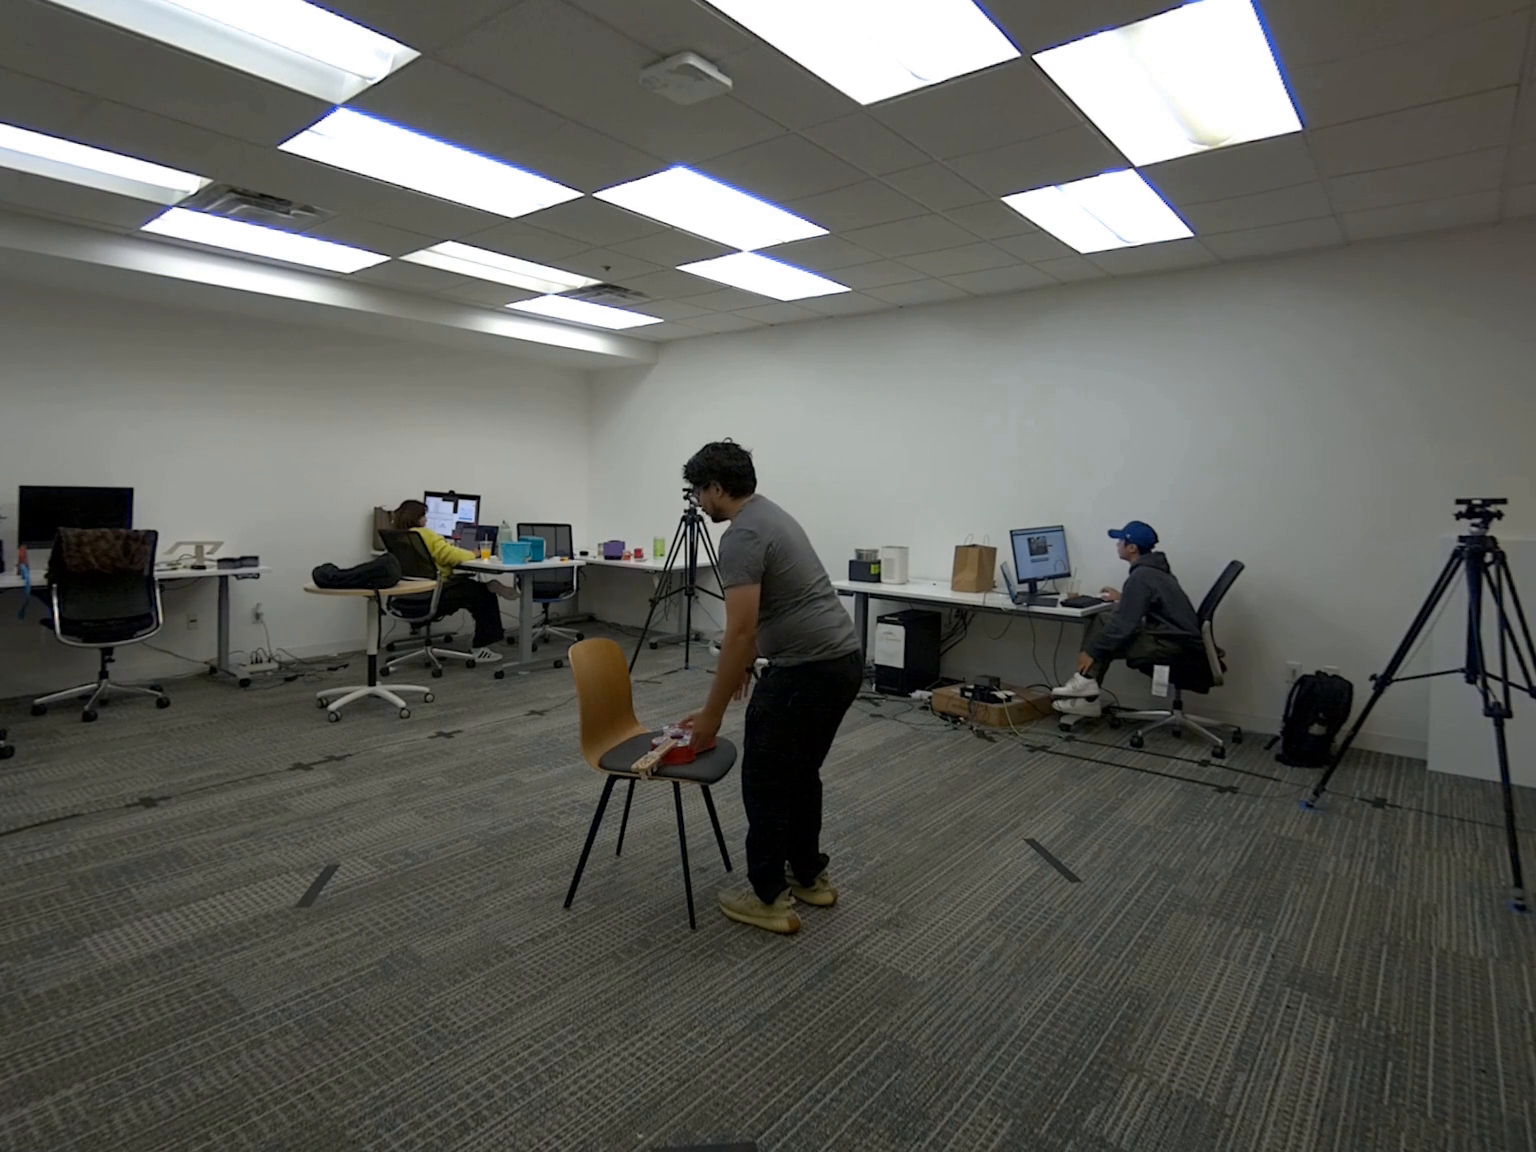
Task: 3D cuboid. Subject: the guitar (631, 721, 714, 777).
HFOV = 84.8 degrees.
[{"bbox_3d":[-0.368,0.580,2.832,0.198,0.070,0.487,3,7,25],"label":"guitar"}]
